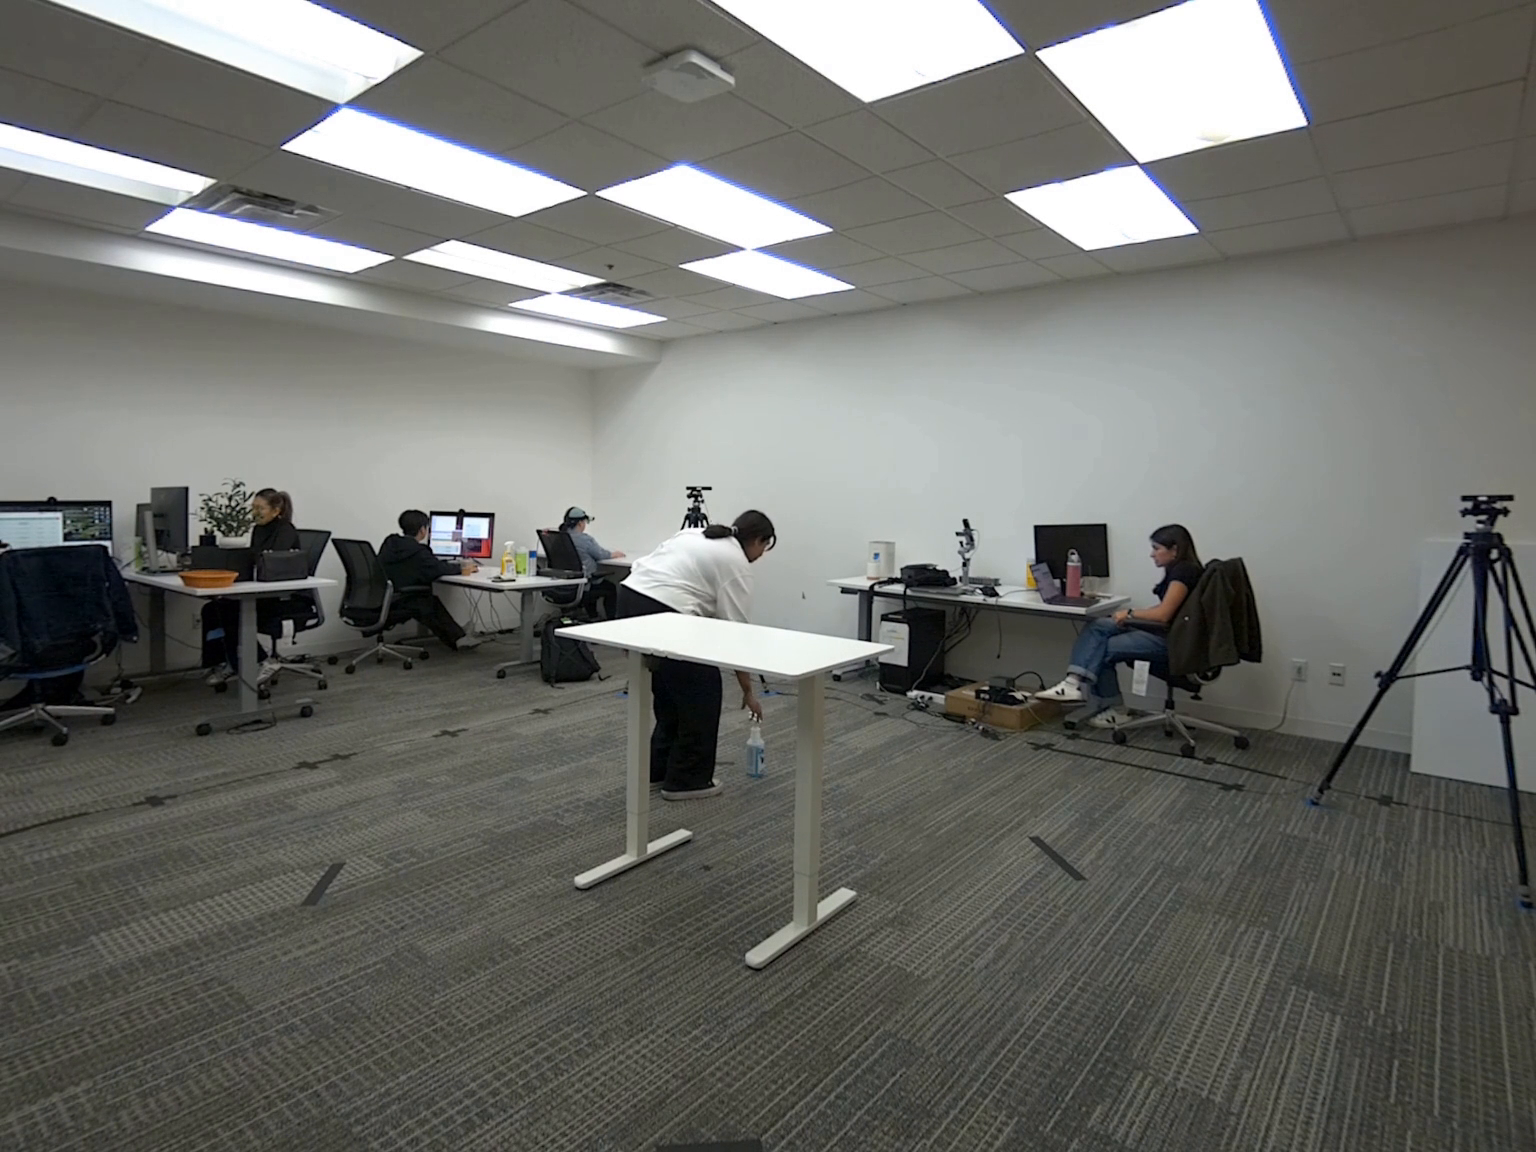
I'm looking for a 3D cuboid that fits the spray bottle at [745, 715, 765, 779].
[{"bbox_3d":[-0.064,0.824,4.145,0.086,0.297,0.091,-1,2,-8],"label":"spray bottle"}]
